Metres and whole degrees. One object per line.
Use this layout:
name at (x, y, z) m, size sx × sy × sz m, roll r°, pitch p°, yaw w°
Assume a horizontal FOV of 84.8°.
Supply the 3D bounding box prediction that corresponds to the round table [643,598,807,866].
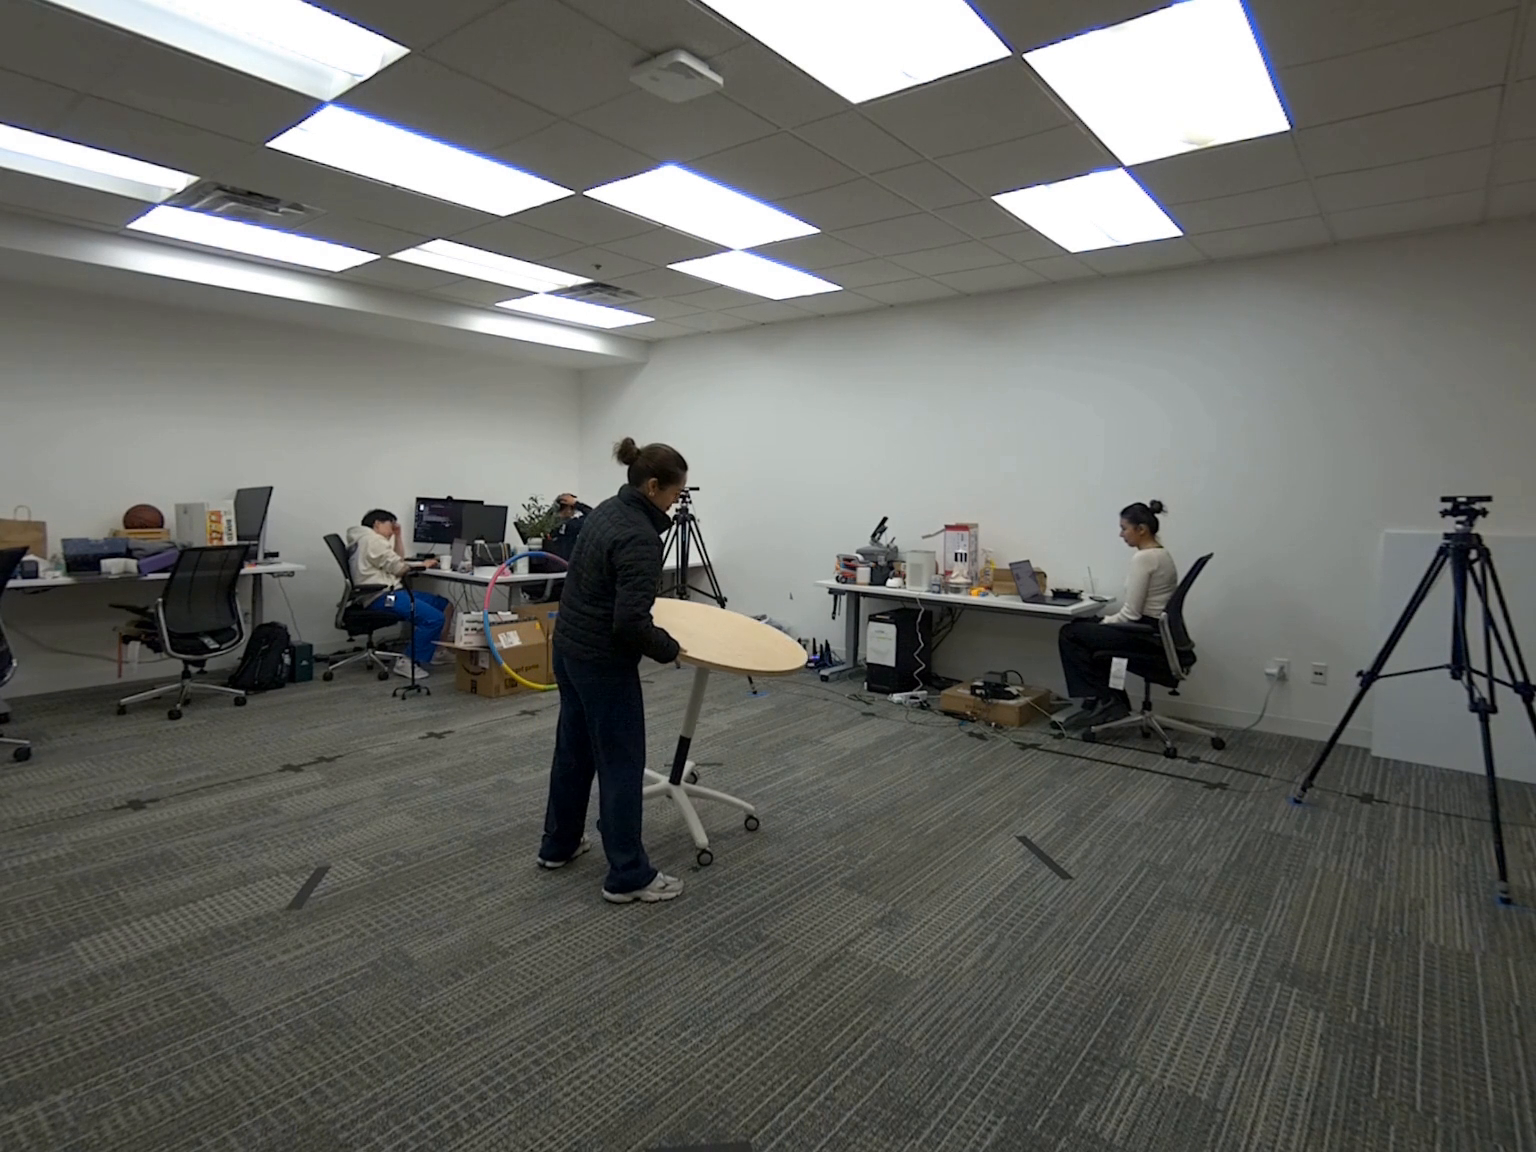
round table at (-0.303, 0.584, 3.387) m, size 0.782 × 0.781 × 0.794 m, roll 14°, pitch 10°, yaw -4°
